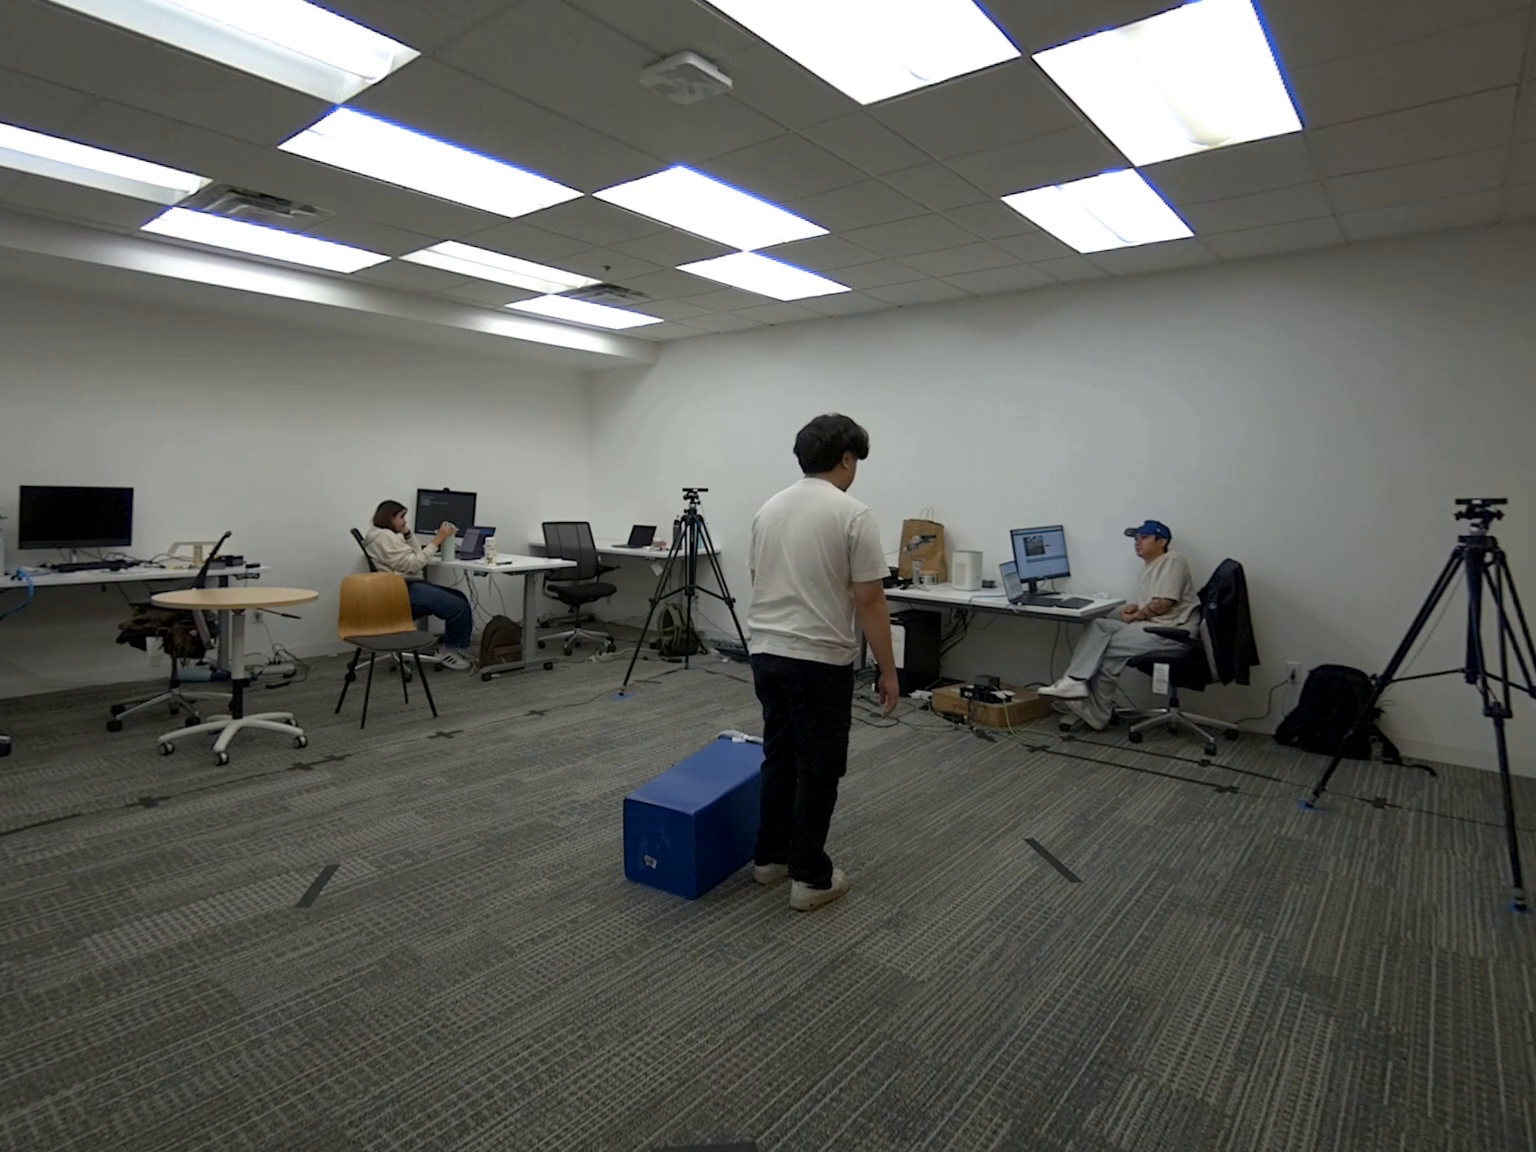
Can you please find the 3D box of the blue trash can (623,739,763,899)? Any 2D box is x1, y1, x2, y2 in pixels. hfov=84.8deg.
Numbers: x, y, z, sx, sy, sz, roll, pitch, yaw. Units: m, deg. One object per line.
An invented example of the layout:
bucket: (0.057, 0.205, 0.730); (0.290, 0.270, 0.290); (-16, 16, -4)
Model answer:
blue trash can: (-0.227, 0.893, 3.234); (0.389, 0.371, 0.698); (5, 9, 29)
